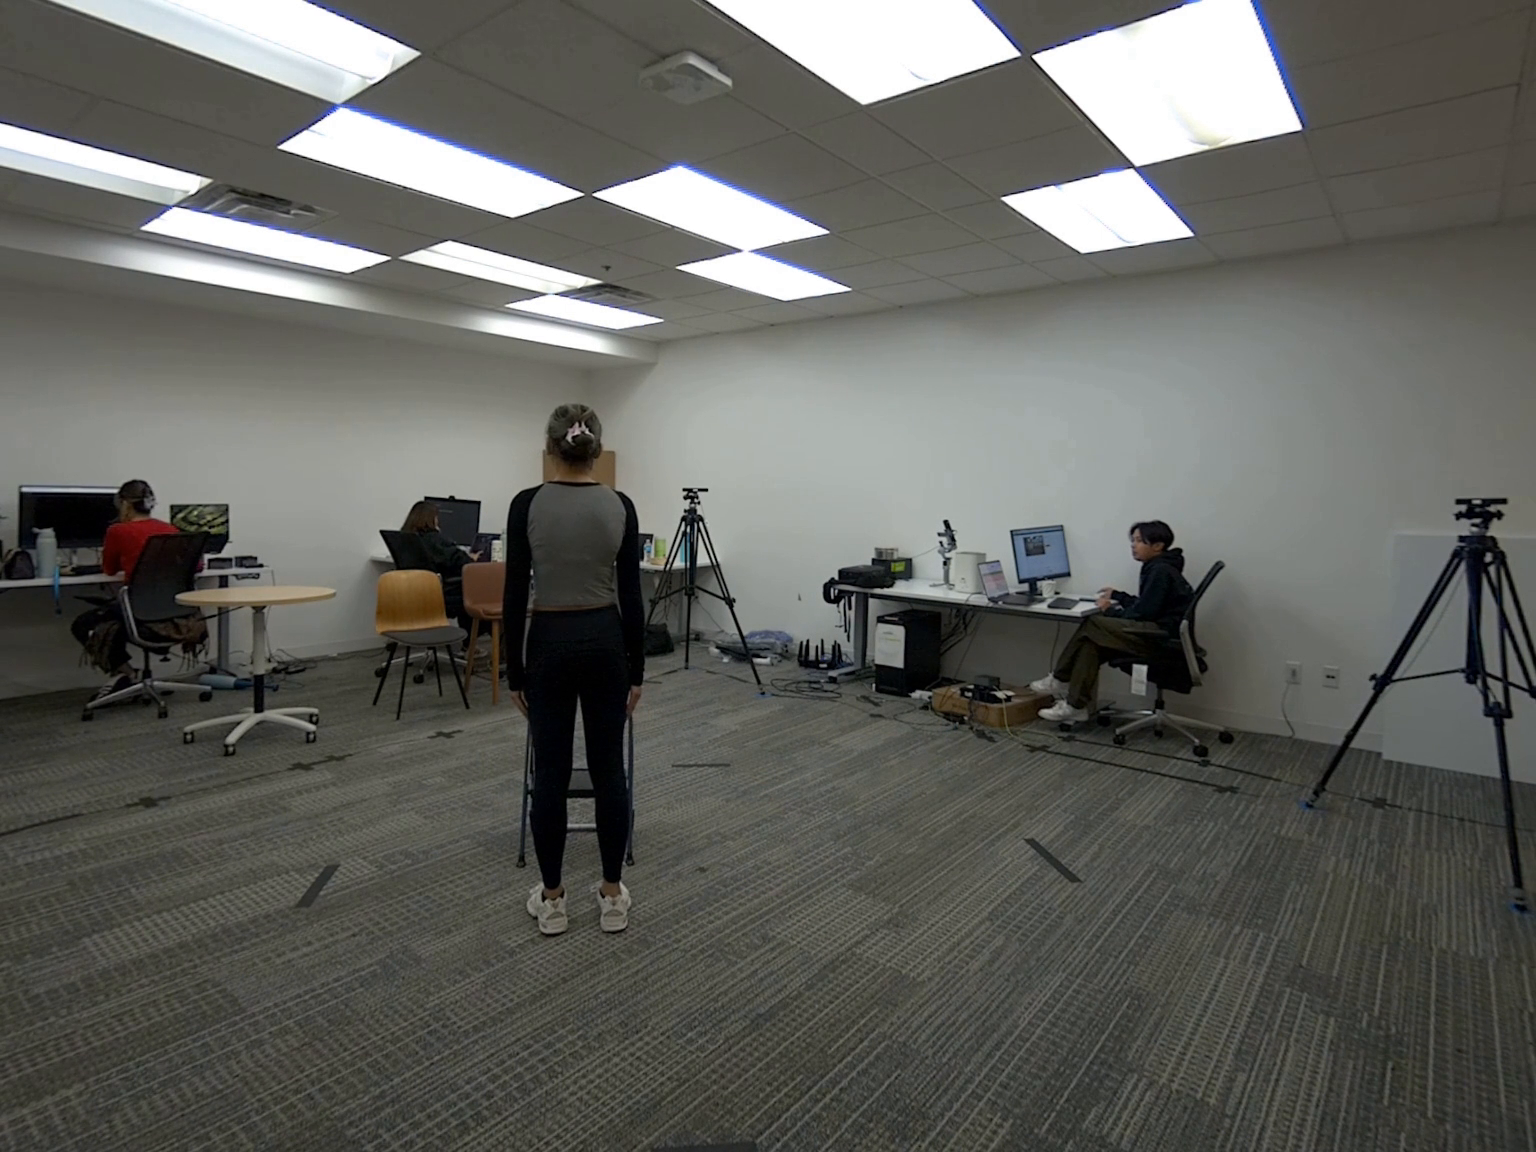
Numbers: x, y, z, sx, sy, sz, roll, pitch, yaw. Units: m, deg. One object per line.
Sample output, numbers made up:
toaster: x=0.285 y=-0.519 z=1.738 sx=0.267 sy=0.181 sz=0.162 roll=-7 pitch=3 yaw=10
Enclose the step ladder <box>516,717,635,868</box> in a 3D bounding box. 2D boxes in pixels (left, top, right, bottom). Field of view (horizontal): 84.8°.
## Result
step ladder: x=-0.733 y=0.747 z=3.274 sx=0.428 sy=0.605 sz=0.352 roll=0 pitch=3 yaw=-7
